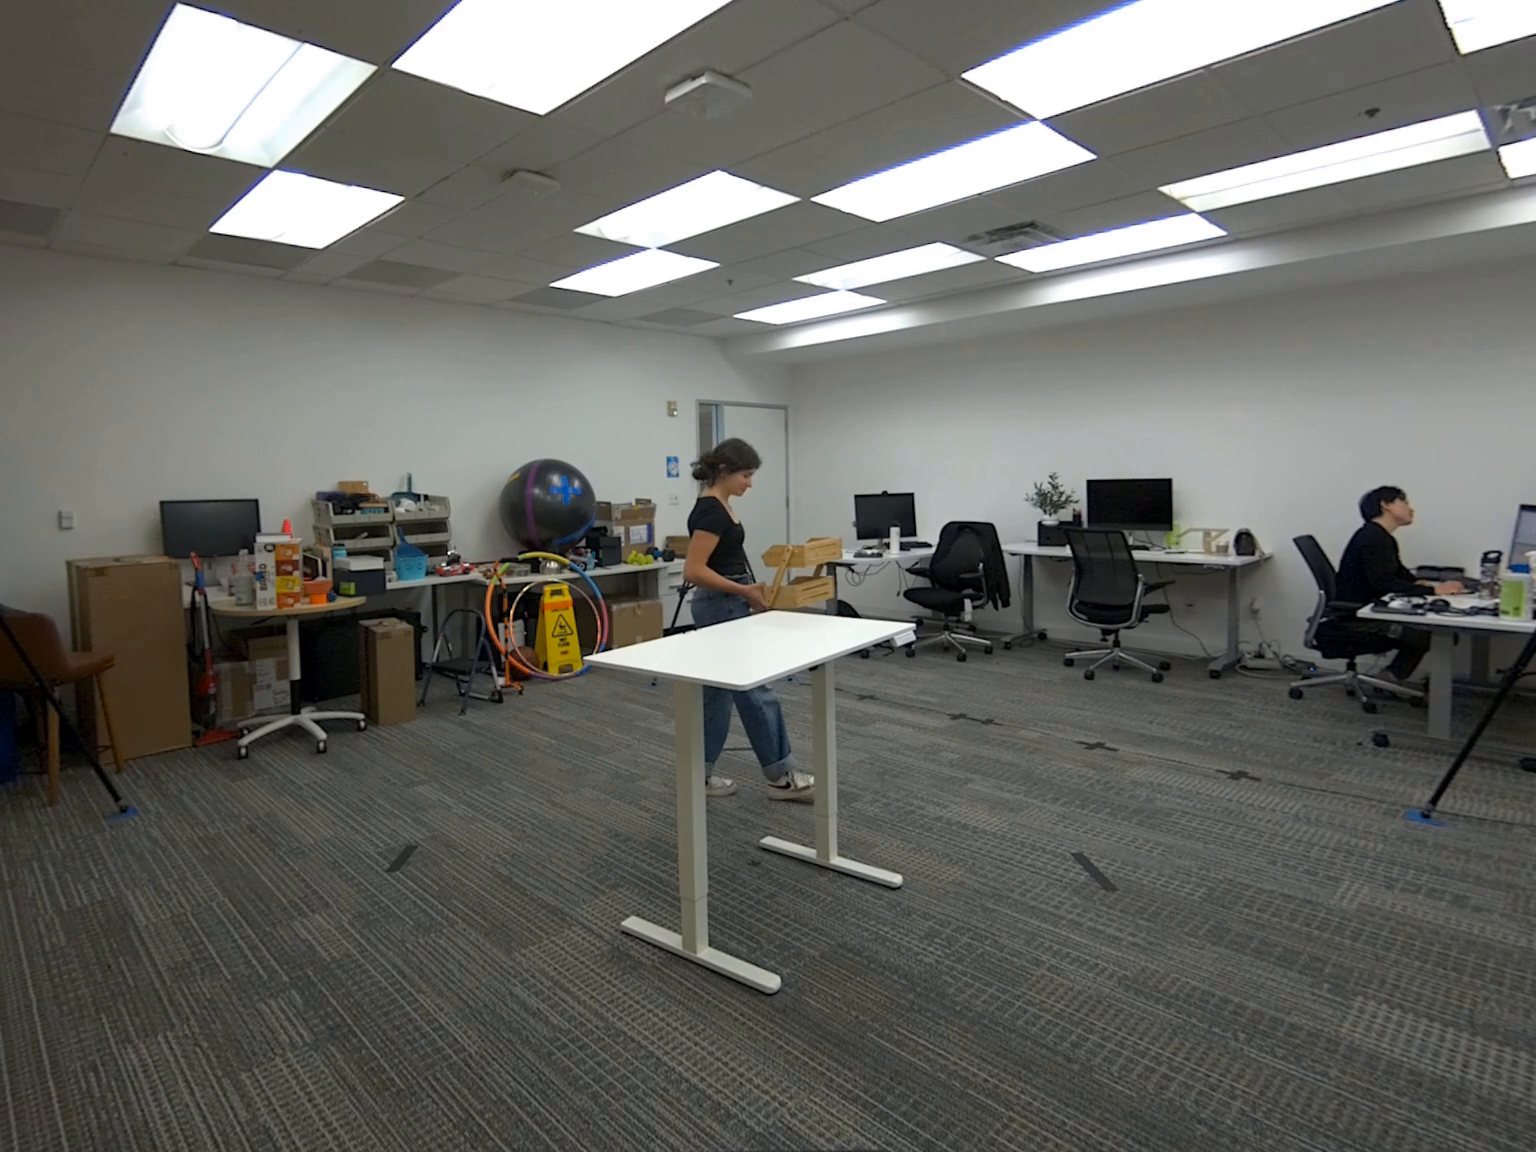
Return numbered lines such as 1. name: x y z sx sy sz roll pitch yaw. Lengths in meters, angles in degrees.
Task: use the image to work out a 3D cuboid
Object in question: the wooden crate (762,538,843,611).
1. wooden crate: 0.116 -0.023 3.613 0.310 0.272 0.317 0 7 37
